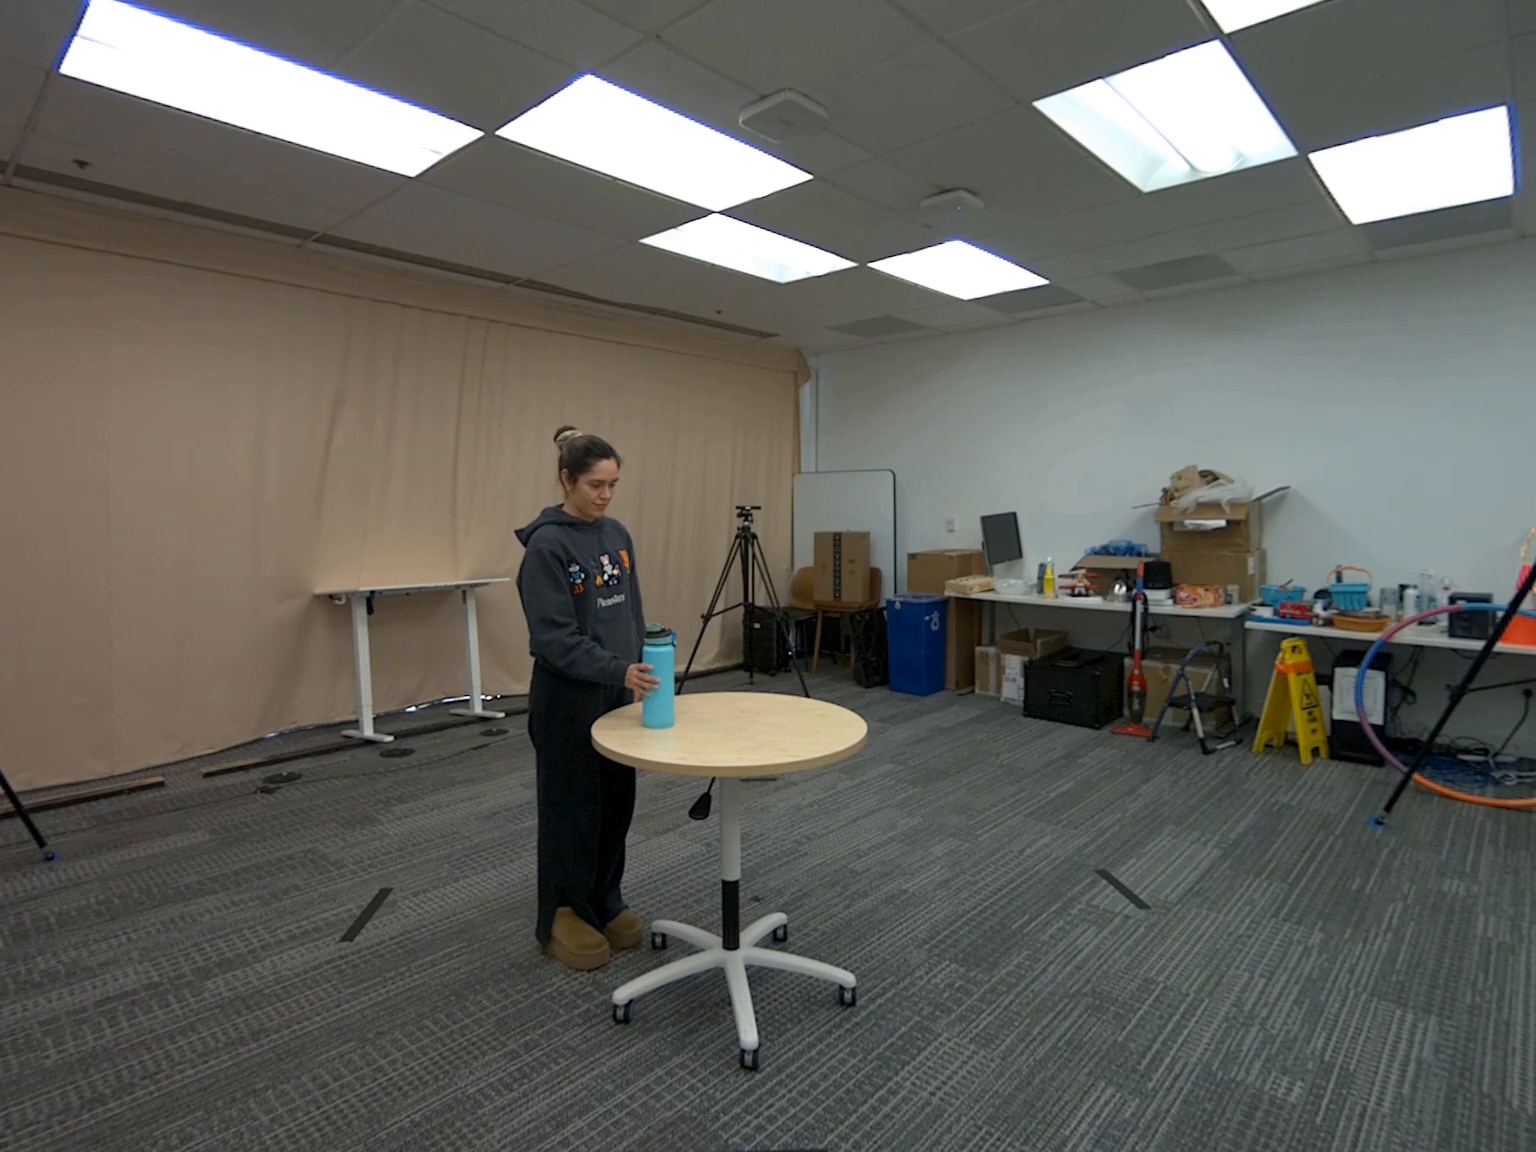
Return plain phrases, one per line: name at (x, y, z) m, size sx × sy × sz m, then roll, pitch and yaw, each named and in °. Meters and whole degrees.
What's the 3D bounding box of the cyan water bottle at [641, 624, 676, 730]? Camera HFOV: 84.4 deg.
cyan water bottle at (-0.303, 0.281, 2.345) m, size 0.092 × 0.283 × 0.092 m, roll 0°, pitch 3°, yaw -2°
